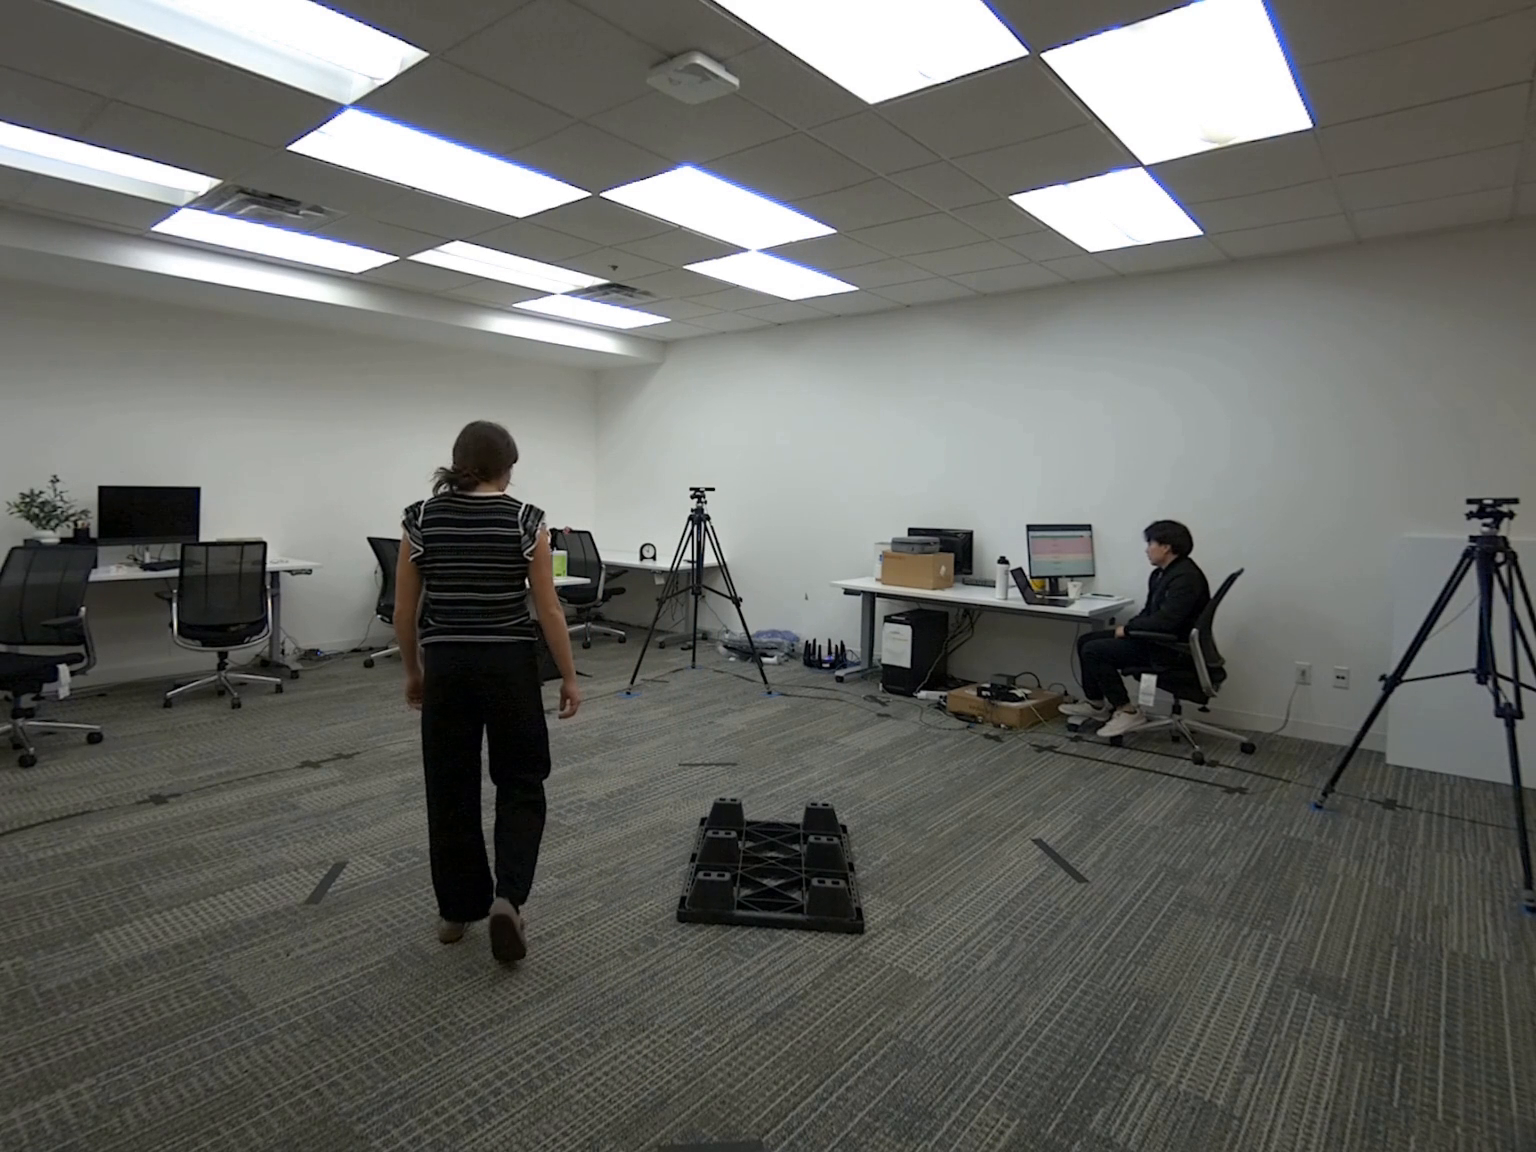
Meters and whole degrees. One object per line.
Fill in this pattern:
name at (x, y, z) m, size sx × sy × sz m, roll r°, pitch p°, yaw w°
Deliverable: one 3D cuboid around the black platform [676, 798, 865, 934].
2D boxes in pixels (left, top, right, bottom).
black platform at (0.010, 1.005, 3.080) m, size 0.607 × 0.143 × 0.806 m, roll 1°, pitch 5°, yaw 2°
